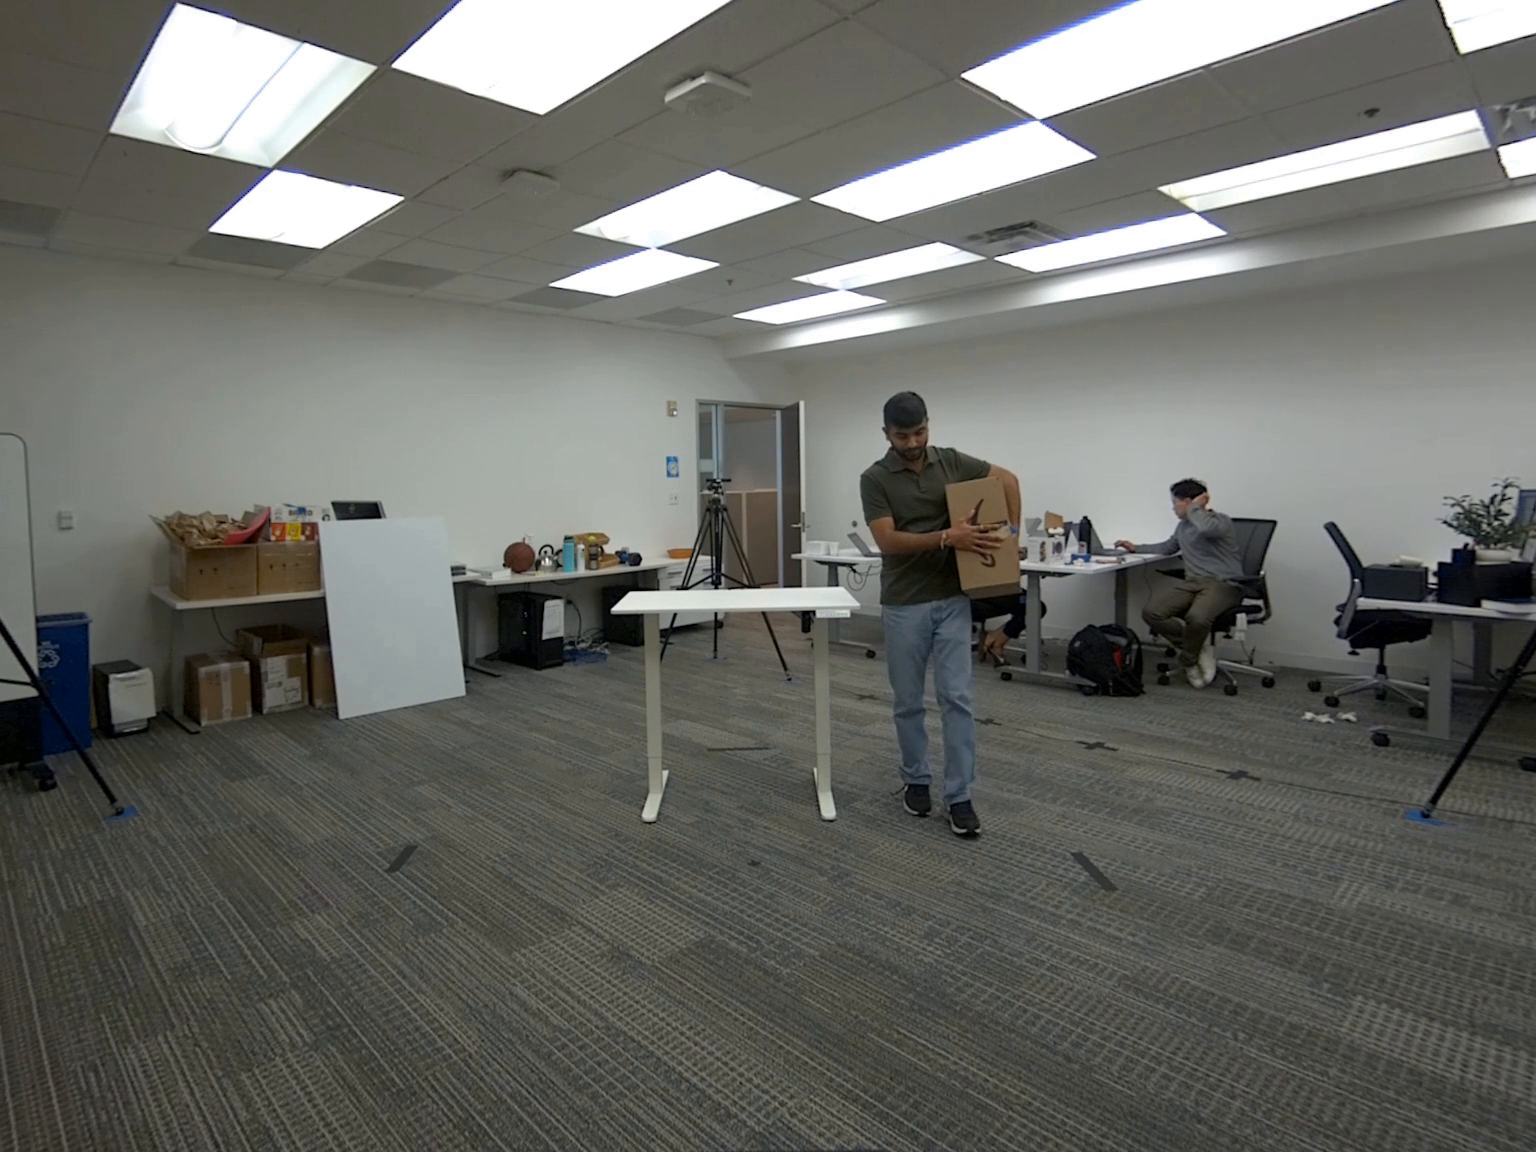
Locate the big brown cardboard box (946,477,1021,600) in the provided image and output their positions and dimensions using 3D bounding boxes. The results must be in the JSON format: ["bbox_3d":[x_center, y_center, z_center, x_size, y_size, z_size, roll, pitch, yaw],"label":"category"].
[{"bbox_3d":[0.896,-0.137,3.524,0.236,0.421,0.576,-10,-8,16],"label":"big brown cardboard box"}]
